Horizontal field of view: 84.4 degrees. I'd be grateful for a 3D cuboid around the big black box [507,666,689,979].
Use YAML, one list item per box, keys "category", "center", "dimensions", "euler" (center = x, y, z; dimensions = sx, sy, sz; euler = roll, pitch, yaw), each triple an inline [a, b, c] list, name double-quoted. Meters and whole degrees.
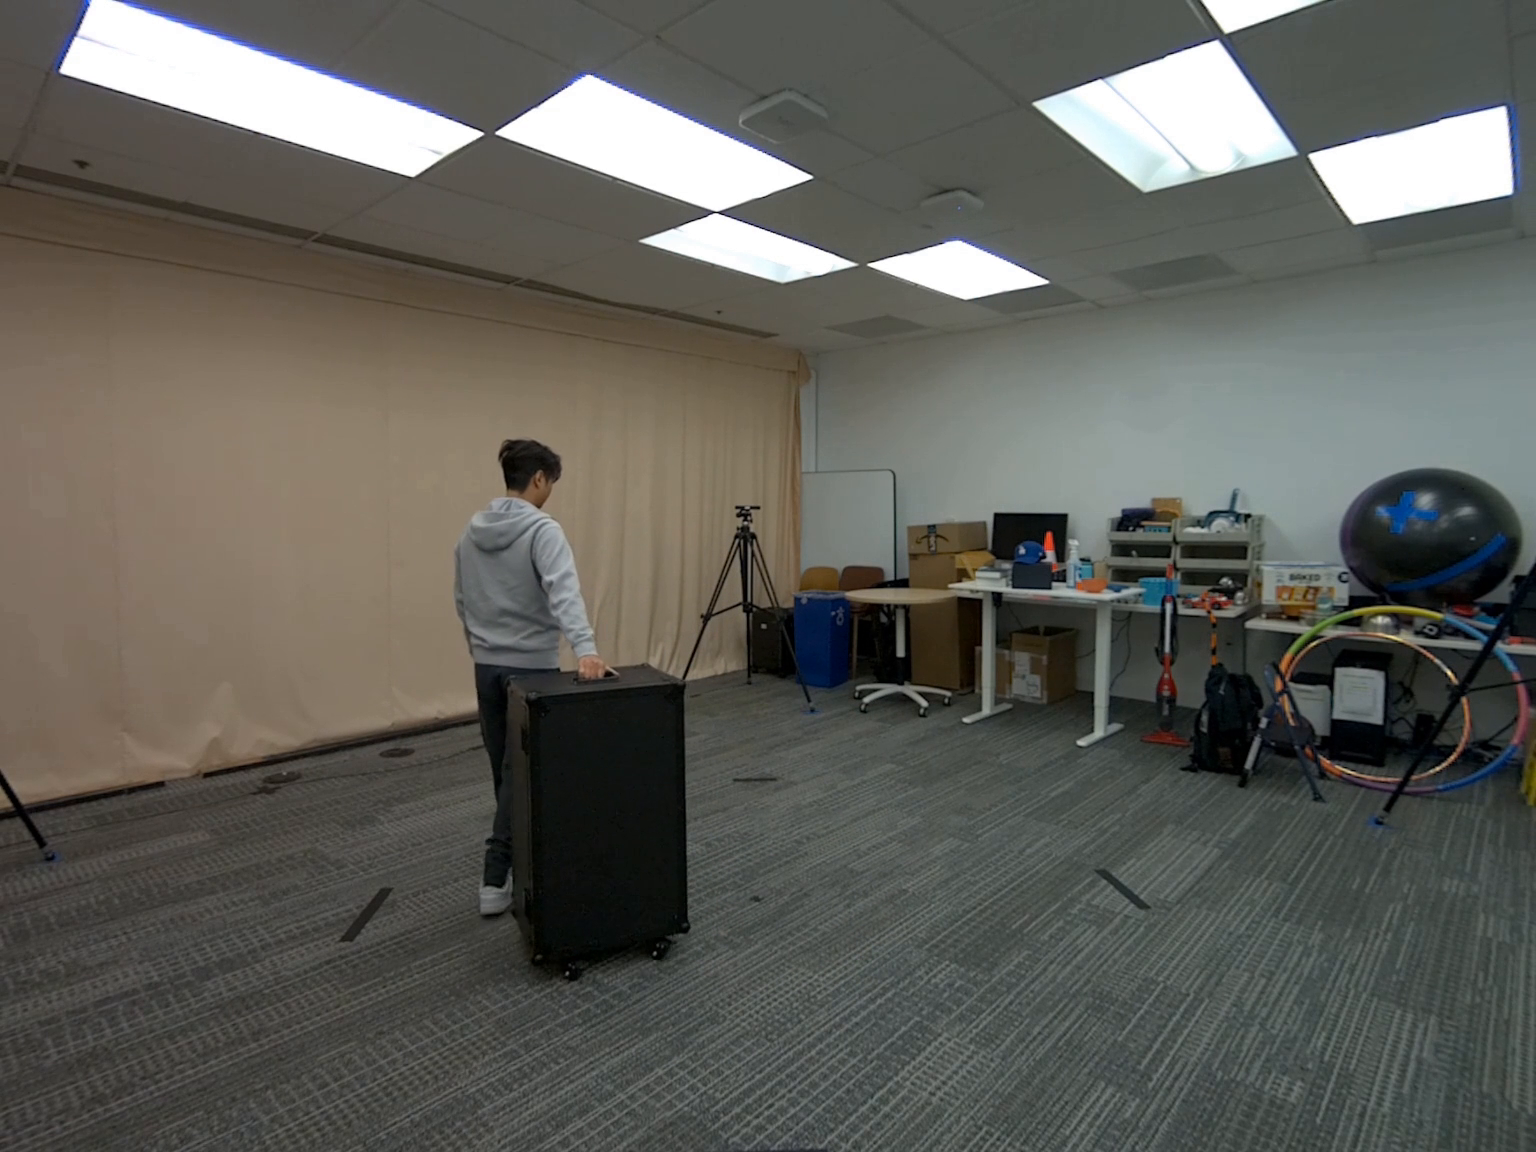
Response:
- category: "big black box"
  center: [-0.551, 0.749, 2.668]
  dimensions: [0.509, 0.861, 0.406]
  euler: [-2, 1, -25]
